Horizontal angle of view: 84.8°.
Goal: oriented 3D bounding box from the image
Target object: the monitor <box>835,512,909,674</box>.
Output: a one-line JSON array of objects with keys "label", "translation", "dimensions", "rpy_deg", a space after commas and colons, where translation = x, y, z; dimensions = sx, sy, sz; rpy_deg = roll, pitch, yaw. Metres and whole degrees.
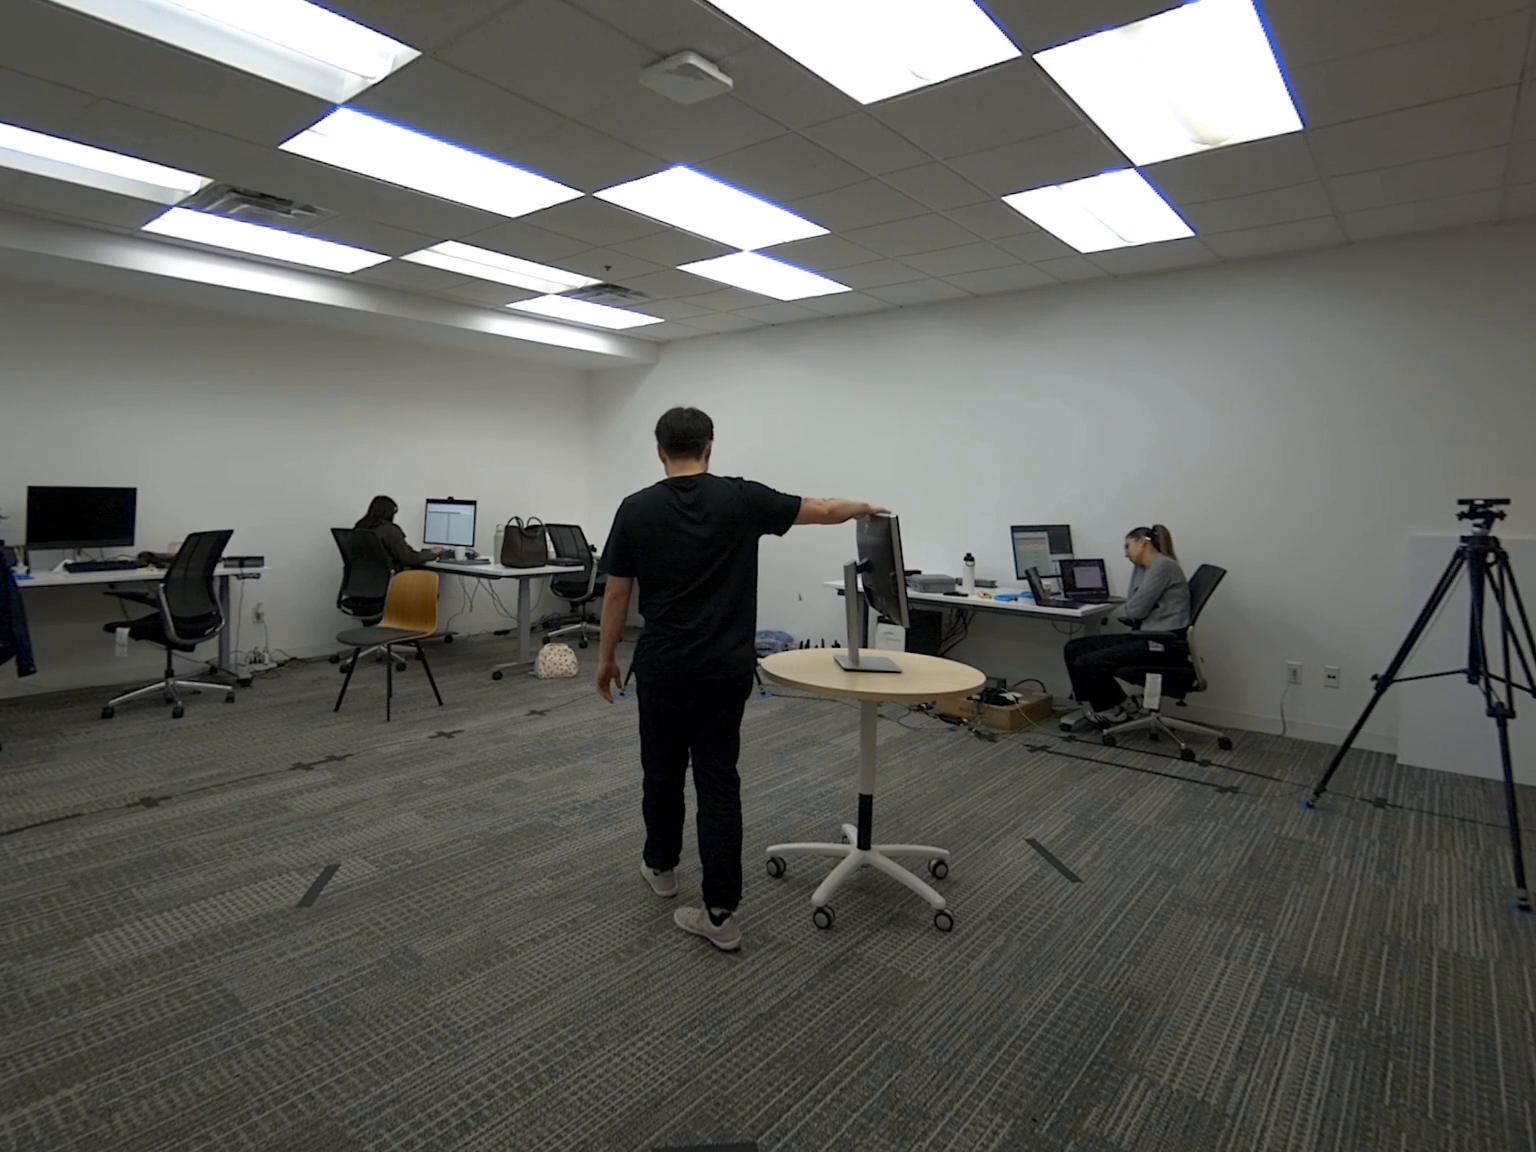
[{"label": "monitor", "translation": [0.345, 0.052, 2.991], "dimensions": [0.186, 0.521, 0.544], "rpy_deg": [3, 5, -6]}]
